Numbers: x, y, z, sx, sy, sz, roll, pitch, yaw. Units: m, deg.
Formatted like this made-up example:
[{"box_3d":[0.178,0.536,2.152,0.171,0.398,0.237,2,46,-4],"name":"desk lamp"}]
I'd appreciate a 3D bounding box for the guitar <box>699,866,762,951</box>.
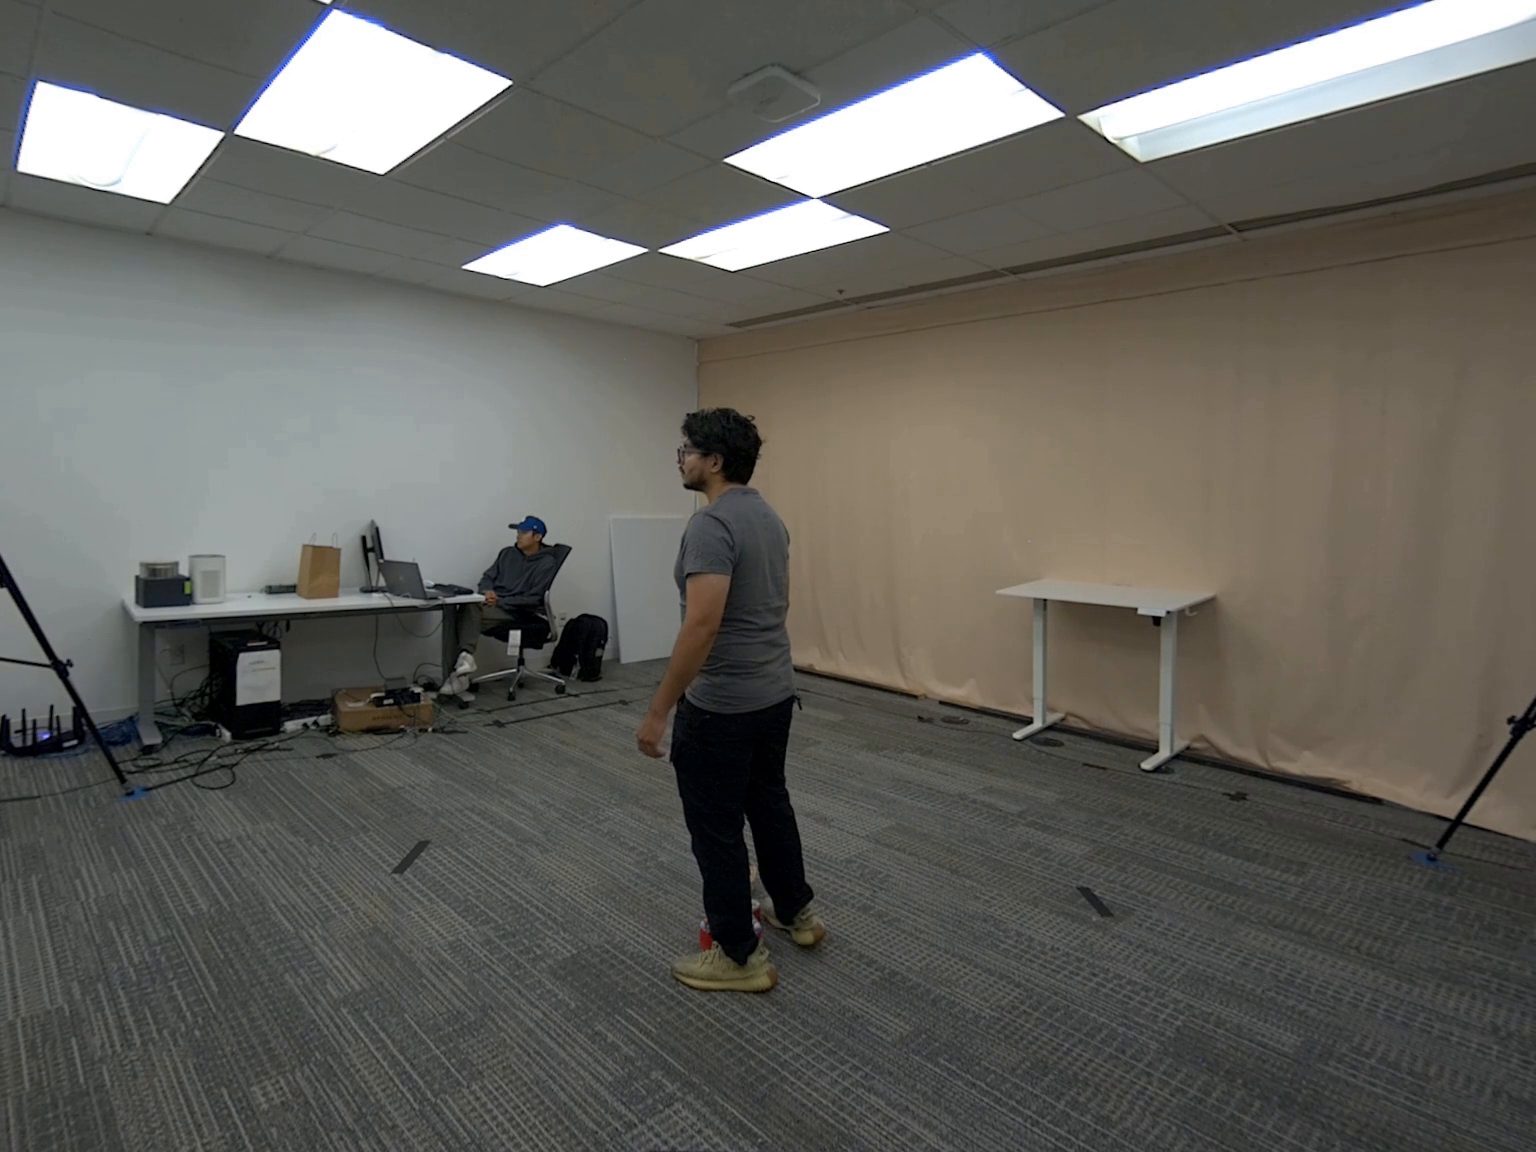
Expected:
[{"box_3d":[-0.069,1.105,2.796,0.195,0.070,0.492,1,5,16],"name":"guitar"}]
